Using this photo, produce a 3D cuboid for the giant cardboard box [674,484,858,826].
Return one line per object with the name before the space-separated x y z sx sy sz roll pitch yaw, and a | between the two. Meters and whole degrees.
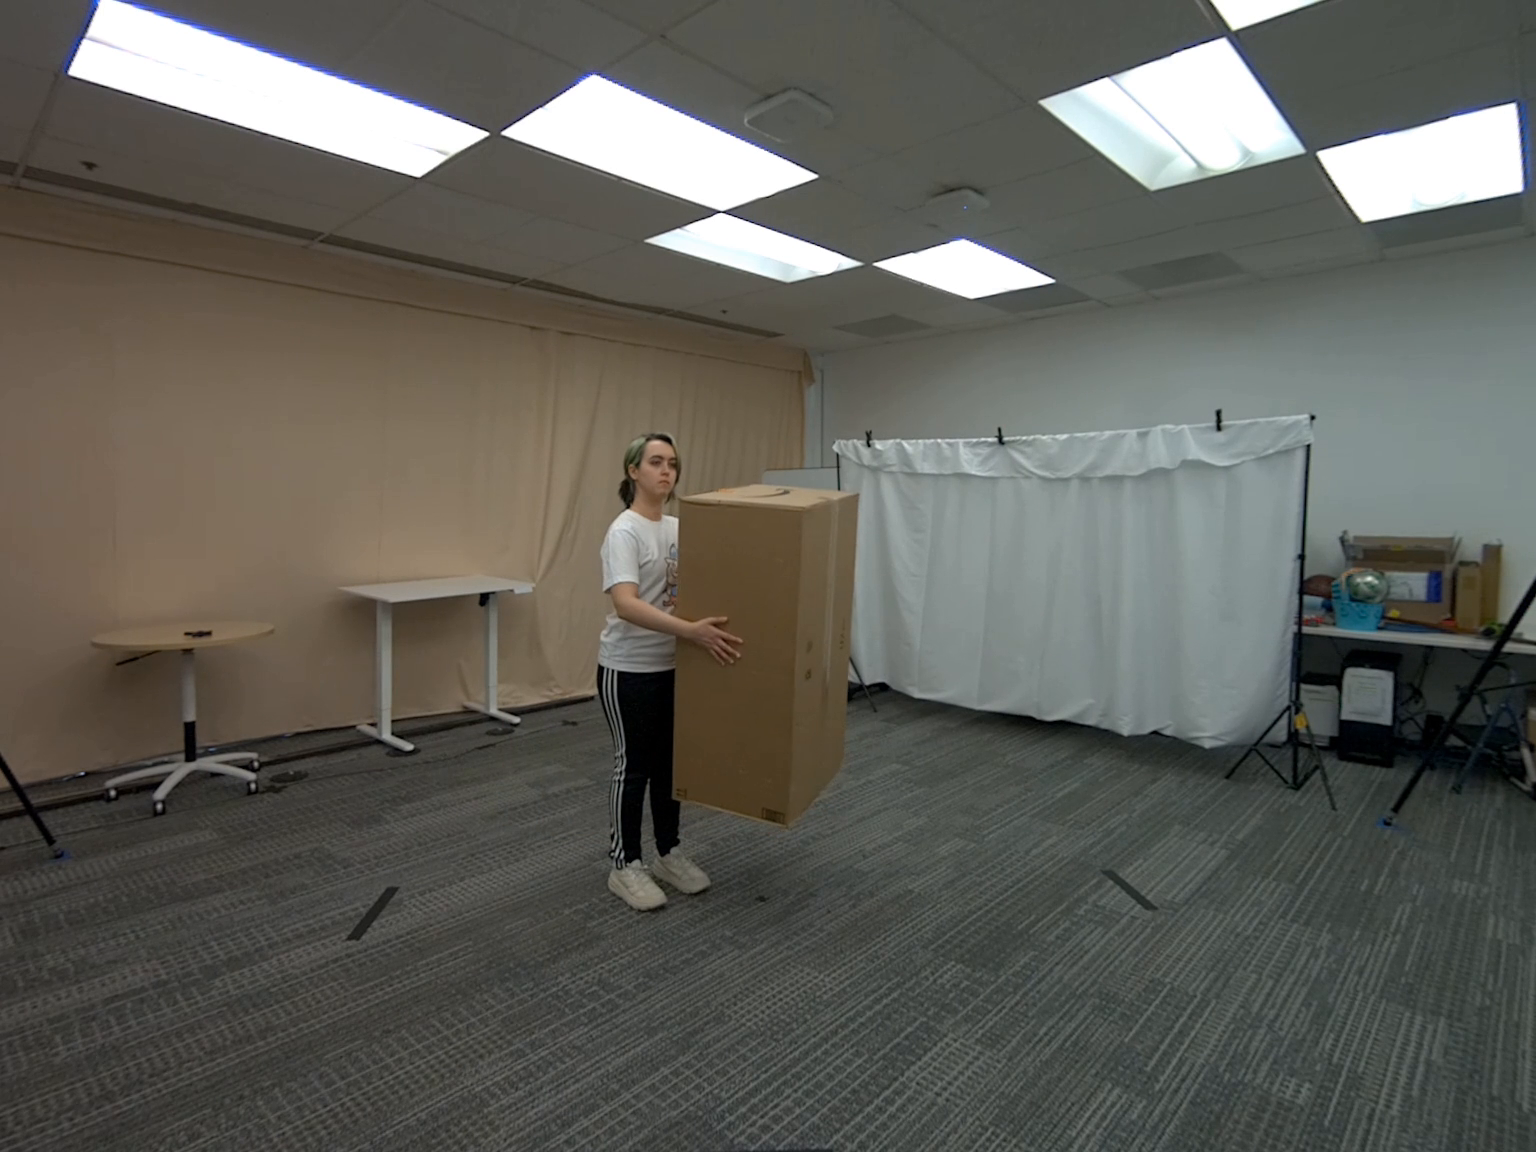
giant cardboard box | 0.001 0.230 2.897 0.437 1.020 0.566 7 11 24
